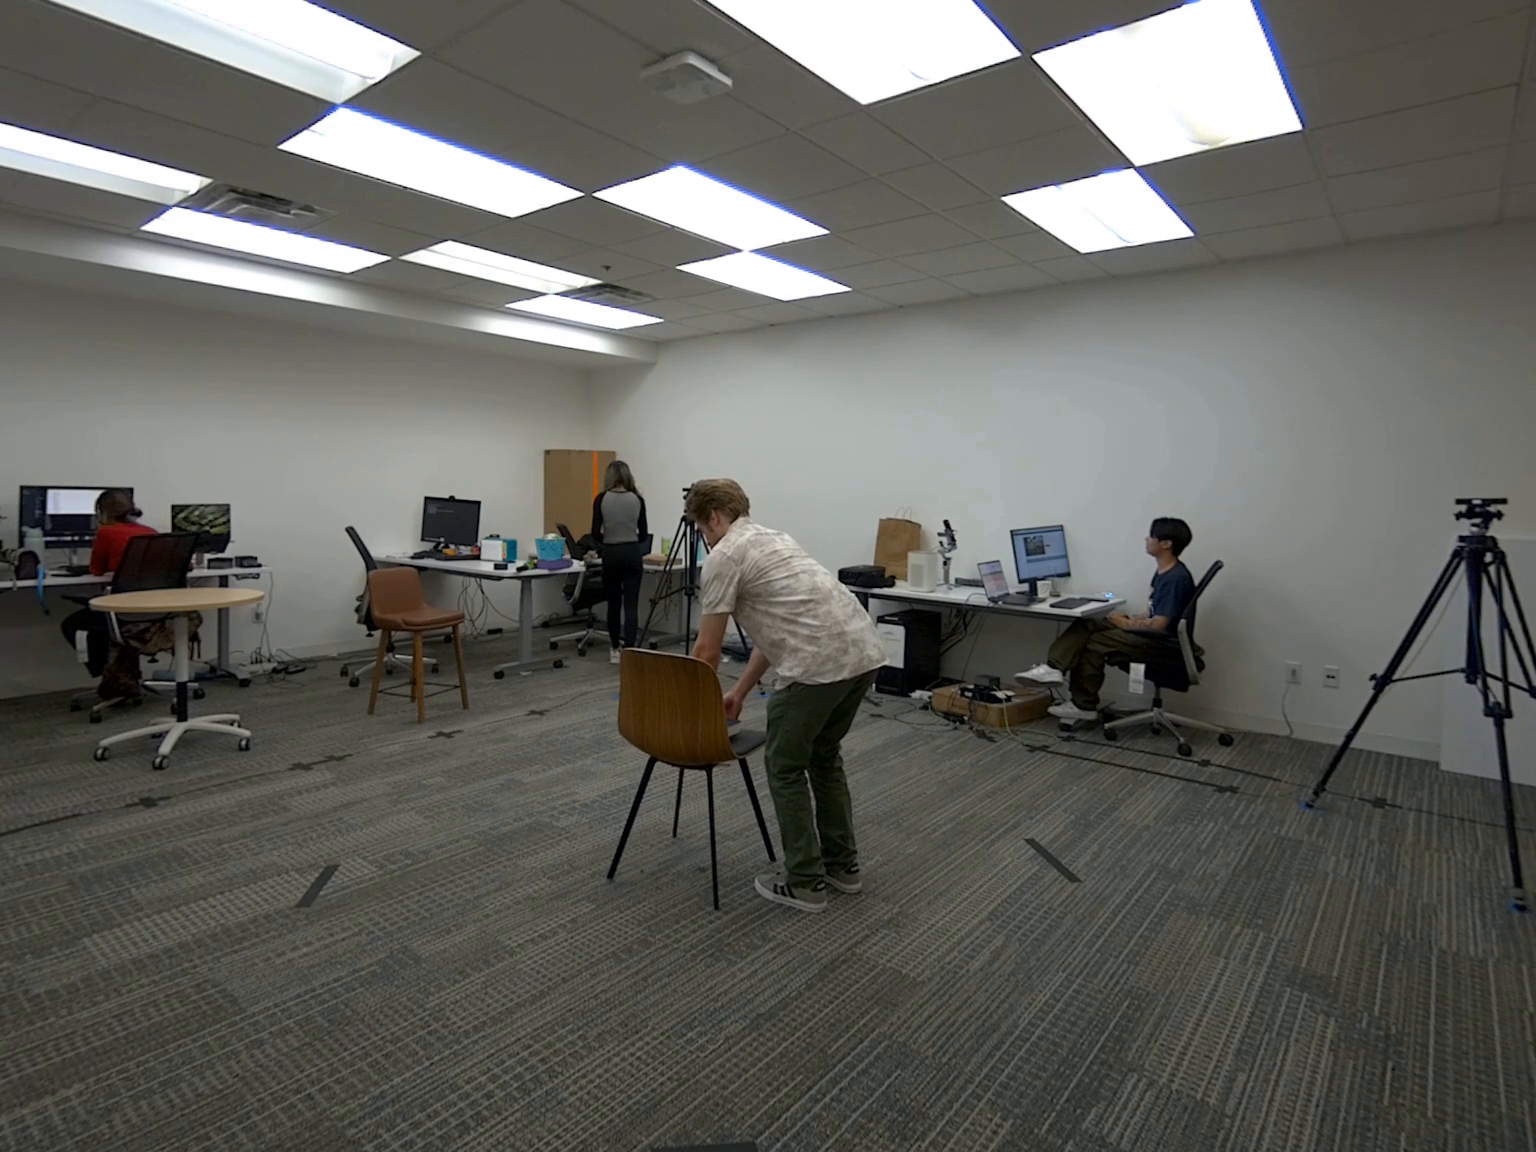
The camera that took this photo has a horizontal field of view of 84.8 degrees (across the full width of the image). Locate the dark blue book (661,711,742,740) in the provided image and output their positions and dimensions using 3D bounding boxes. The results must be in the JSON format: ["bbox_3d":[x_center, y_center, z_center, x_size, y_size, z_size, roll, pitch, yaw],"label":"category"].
[{"bbox_3d":[-0.248,0.549,3.113,0.252,0.045,0.159,-1,4,38],"label":"dark blue book"}]
